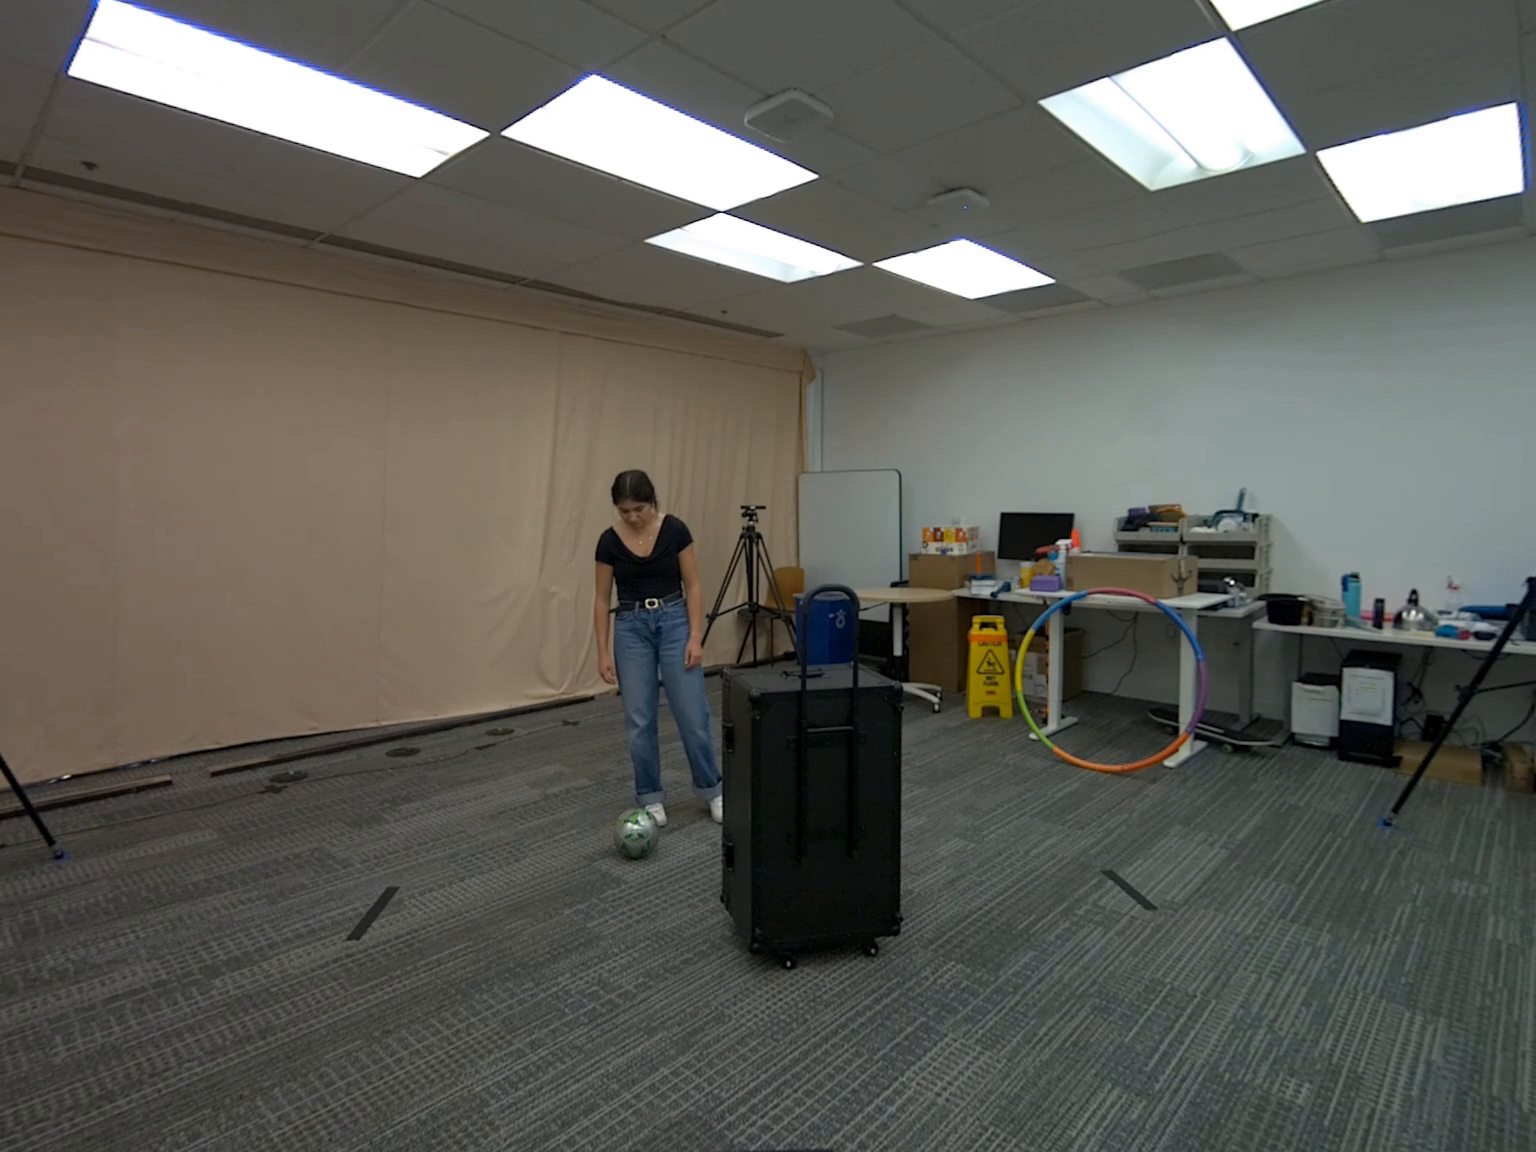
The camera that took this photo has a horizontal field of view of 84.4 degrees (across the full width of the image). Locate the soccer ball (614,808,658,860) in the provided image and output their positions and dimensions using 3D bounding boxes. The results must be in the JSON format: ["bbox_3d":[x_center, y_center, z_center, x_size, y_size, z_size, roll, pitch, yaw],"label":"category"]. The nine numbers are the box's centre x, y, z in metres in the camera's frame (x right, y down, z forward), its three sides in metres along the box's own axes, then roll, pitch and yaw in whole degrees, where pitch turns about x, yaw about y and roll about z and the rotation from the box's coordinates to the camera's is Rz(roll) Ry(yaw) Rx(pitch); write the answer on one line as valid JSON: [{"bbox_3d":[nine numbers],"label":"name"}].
[{"bbox_3d":[-0.522,1.027,3.354,0.187,0.187,0.188,0,4,-2],"label":"soccer ball"}]
